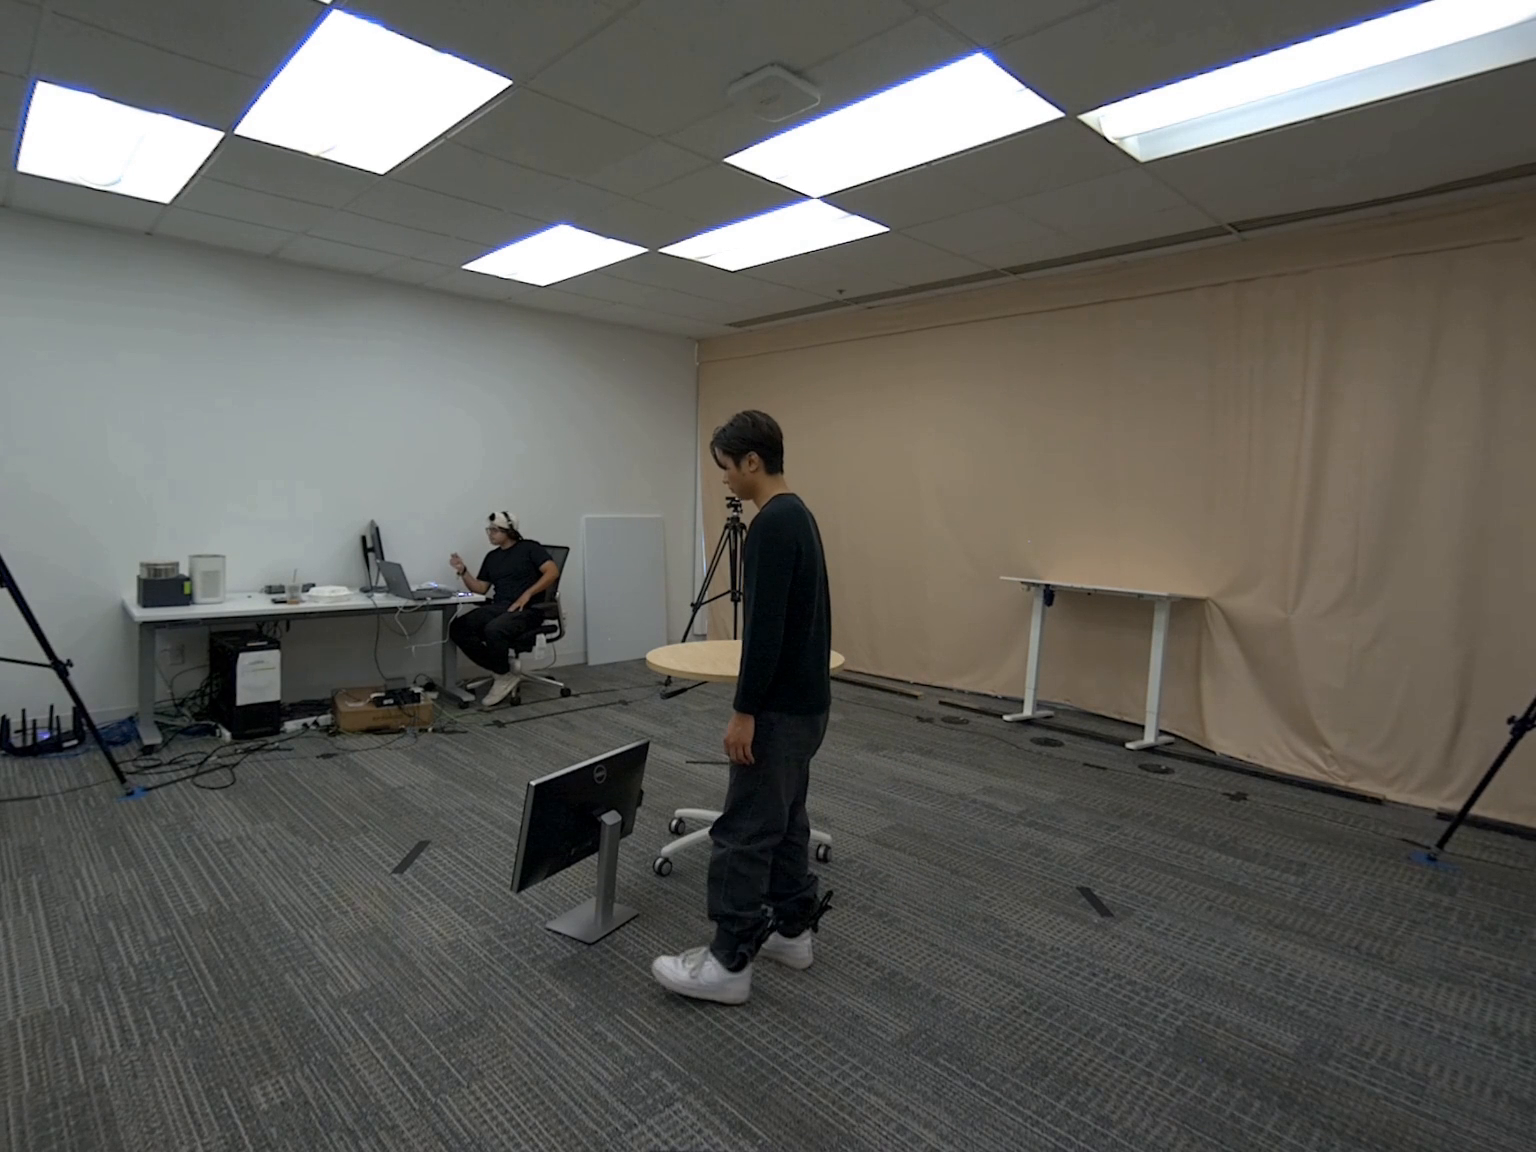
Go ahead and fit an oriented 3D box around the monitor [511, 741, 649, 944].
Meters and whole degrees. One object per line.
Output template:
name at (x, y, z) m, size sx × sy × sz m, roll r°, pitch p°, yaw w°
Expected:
monitor at (-0.574, 0.865, 2.735) m, size 0.191 × 0.522 × 0.529 m, roll 1°, pitch 3°, yaw 30°
